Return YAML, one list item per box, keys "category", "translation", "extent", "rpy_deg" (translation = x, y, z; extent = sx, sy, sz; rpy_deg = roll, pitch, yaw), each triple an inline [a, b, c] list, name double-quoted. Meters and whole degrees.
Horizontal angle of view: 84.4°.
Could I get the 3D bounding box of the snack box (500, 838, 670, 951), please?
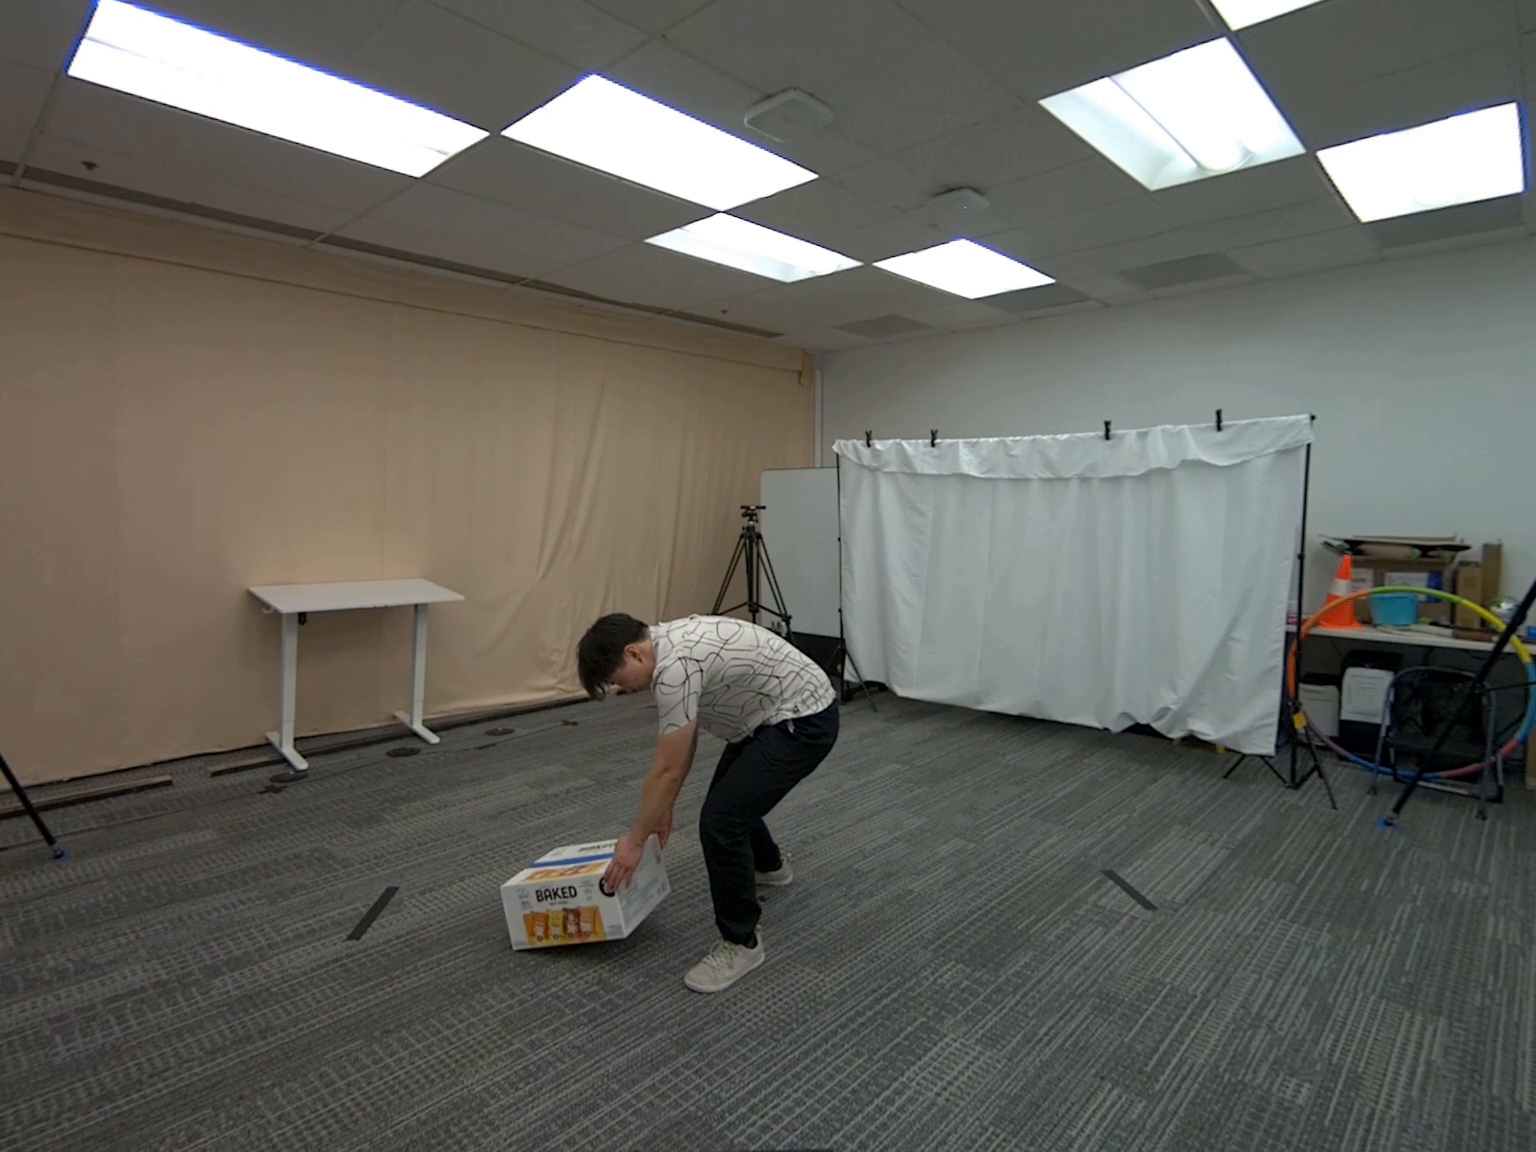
- category: "snack box"
  translation: [-0.586, 1.018, 2.737]
  extent: [0.412, 0.206, 0.334]
  rpy_deg: [-13, -1, 19]
